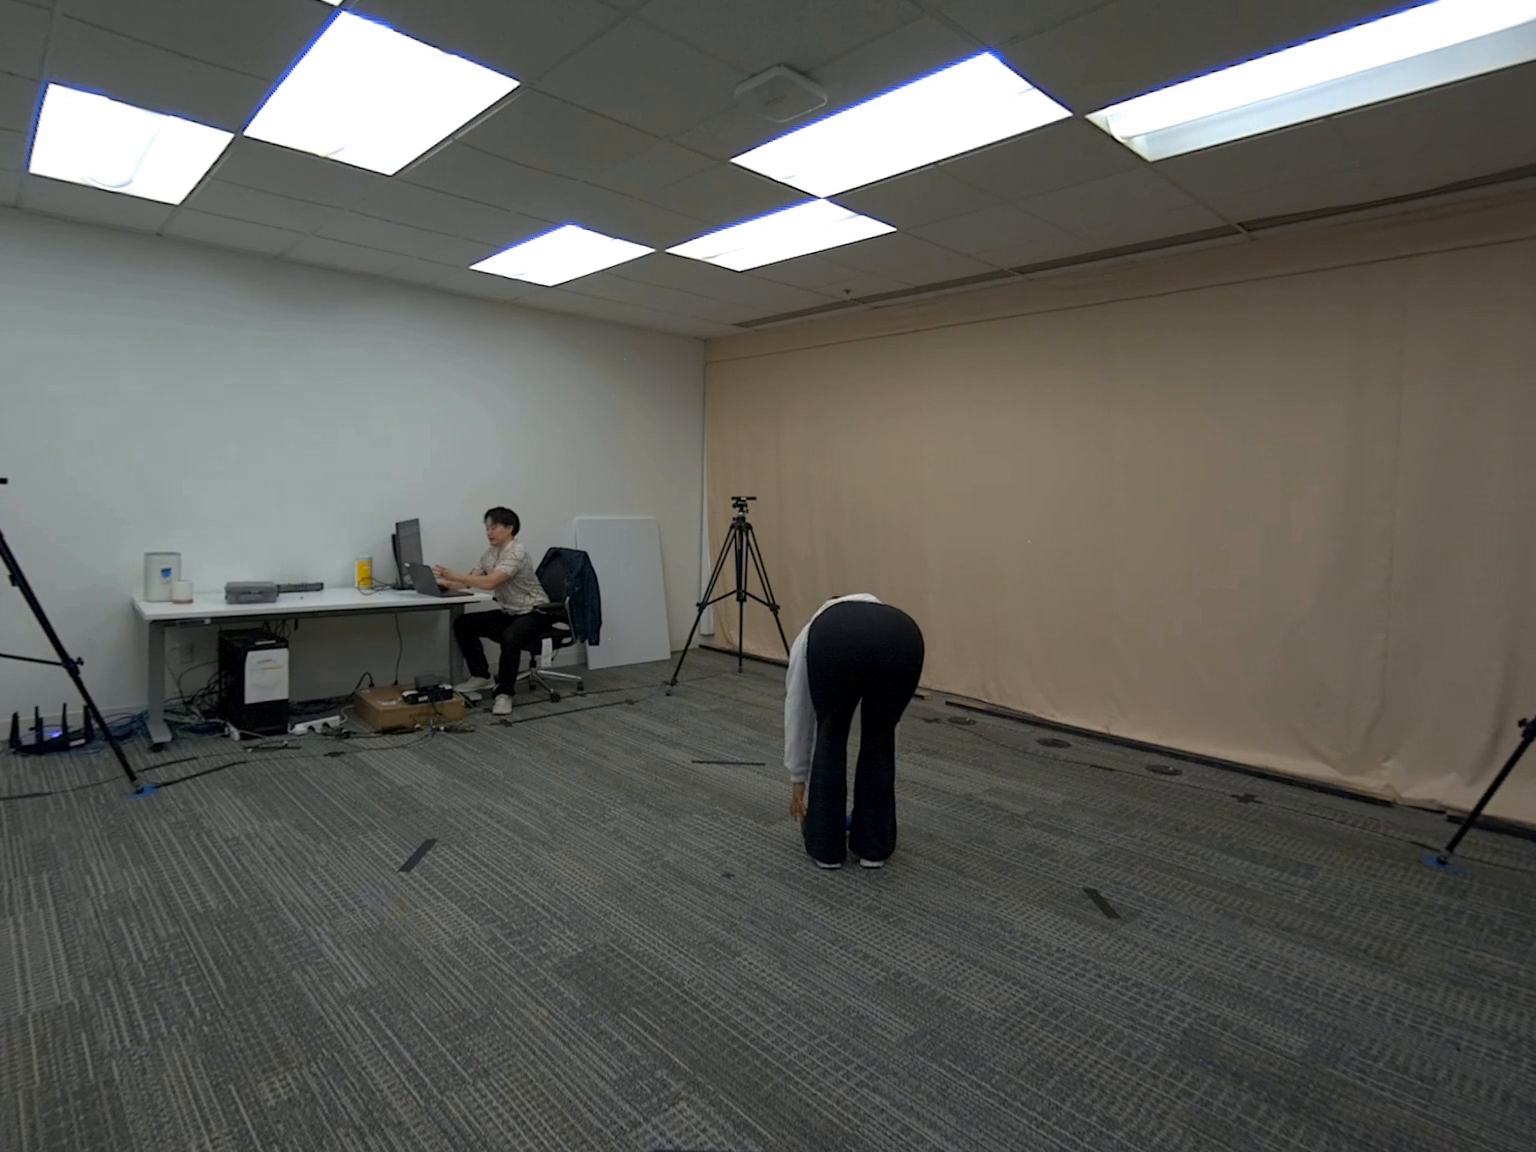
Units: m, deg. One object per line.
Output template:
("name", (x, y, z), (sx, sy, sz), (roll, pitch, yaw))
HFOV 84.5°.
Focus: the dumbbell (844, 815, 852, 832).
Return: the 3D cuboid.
("dumbbell", (0.281, 1.035, 3.499), (0.292, 0.120, 0.111), (1, 36, -5))
